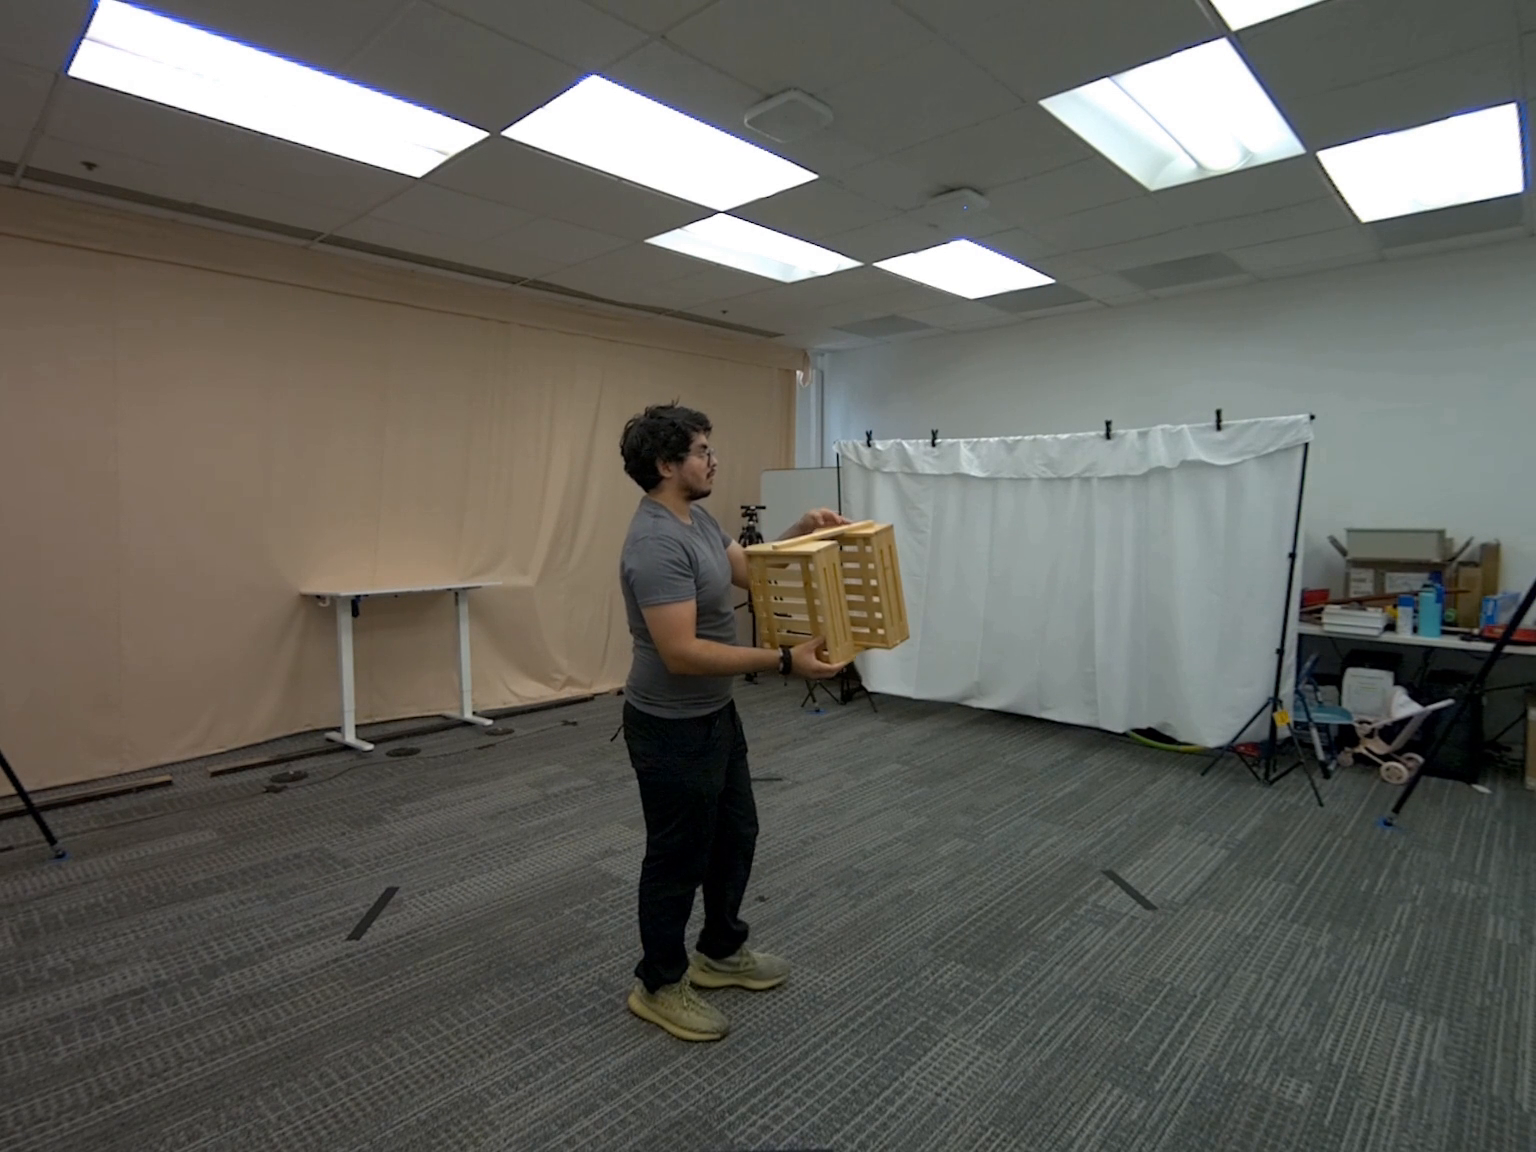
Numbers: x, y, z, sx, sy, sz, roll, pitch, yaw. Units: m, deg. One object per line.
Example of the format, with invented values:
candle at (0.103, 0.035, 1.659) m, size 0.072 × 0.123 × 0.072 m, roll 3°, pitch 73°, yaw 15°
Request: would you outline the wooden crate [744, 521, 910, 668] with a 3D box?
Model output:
wooden crate at (0.152, 0.046, 2.138) m, size 0.312 × 0.322 × 0.267 m, roll 0°, pitch 14°, yaw 45°
